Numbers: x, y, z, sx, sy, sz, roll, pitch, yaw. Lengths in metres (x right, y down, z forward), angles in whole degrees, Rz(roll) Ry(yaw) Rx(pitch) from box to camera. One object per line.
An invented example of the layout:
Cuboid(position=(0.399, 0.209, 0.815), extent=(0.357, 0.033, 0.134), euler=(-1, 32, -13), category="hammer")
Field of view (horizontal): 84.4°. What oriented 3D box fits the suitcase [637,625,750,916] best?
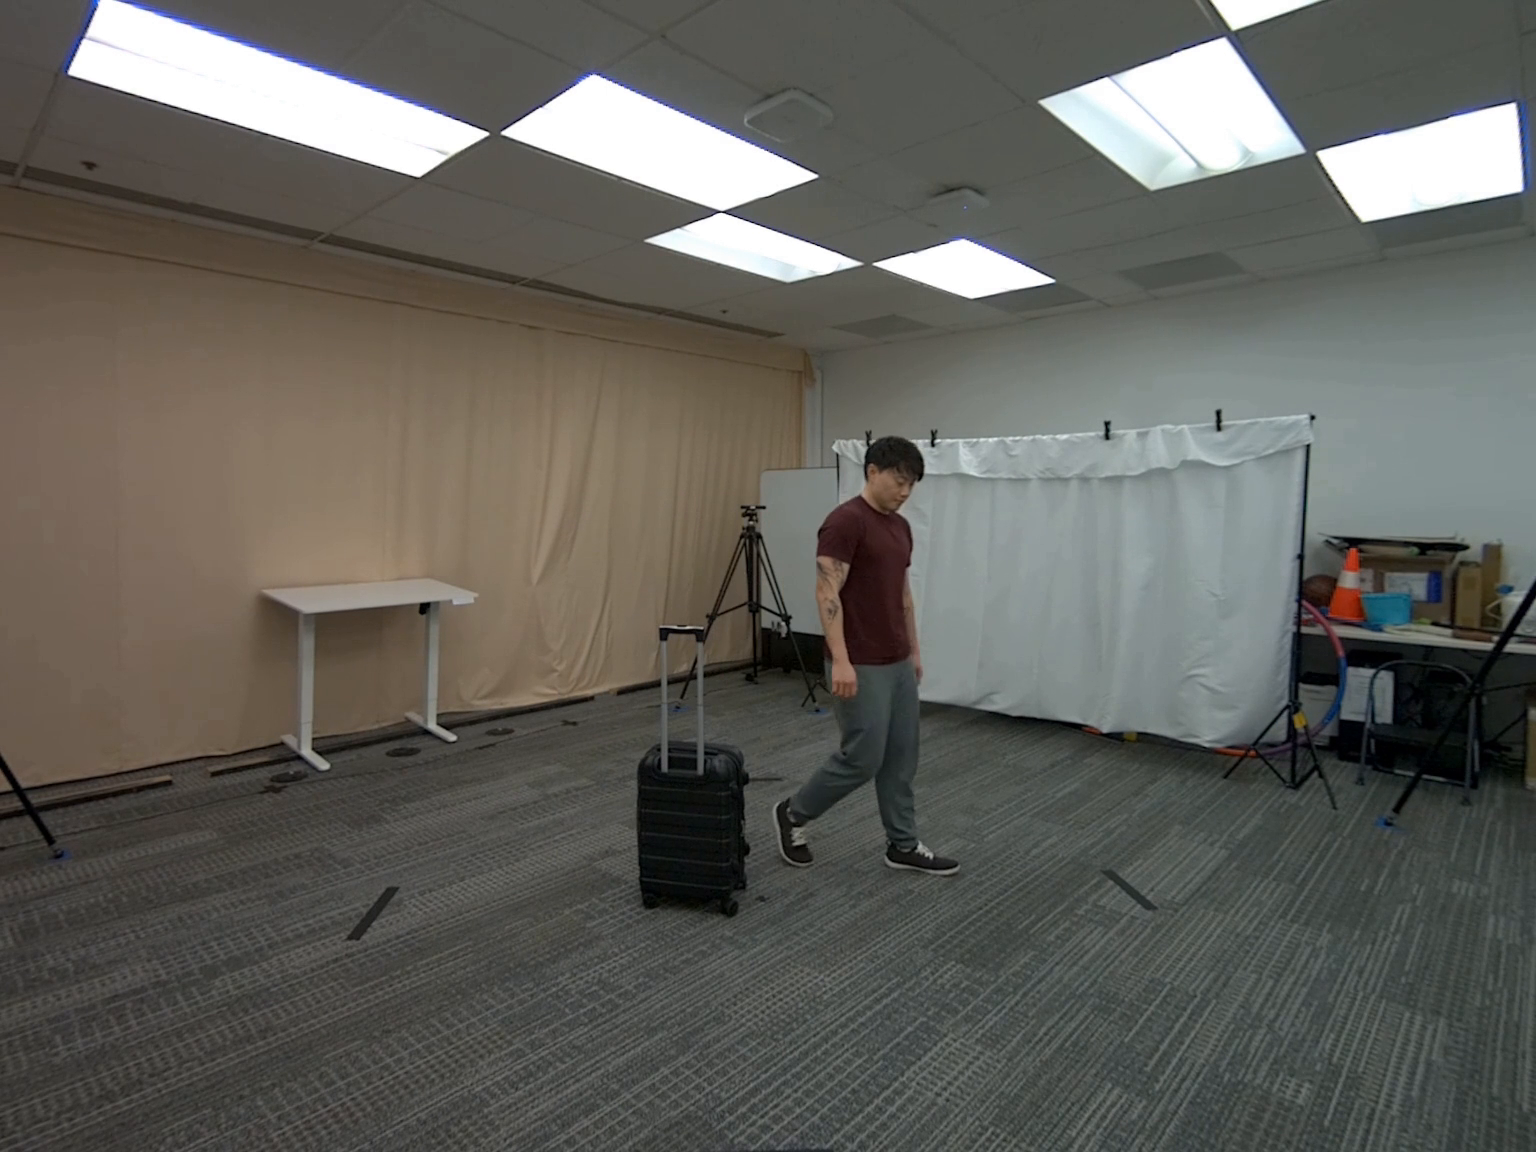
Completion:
Cuboid(position=(-0.271, 0.668, 2.974), extent=(0.389, 0.978, 0.254), euler=(0, 1, 12), category="suitcase")
